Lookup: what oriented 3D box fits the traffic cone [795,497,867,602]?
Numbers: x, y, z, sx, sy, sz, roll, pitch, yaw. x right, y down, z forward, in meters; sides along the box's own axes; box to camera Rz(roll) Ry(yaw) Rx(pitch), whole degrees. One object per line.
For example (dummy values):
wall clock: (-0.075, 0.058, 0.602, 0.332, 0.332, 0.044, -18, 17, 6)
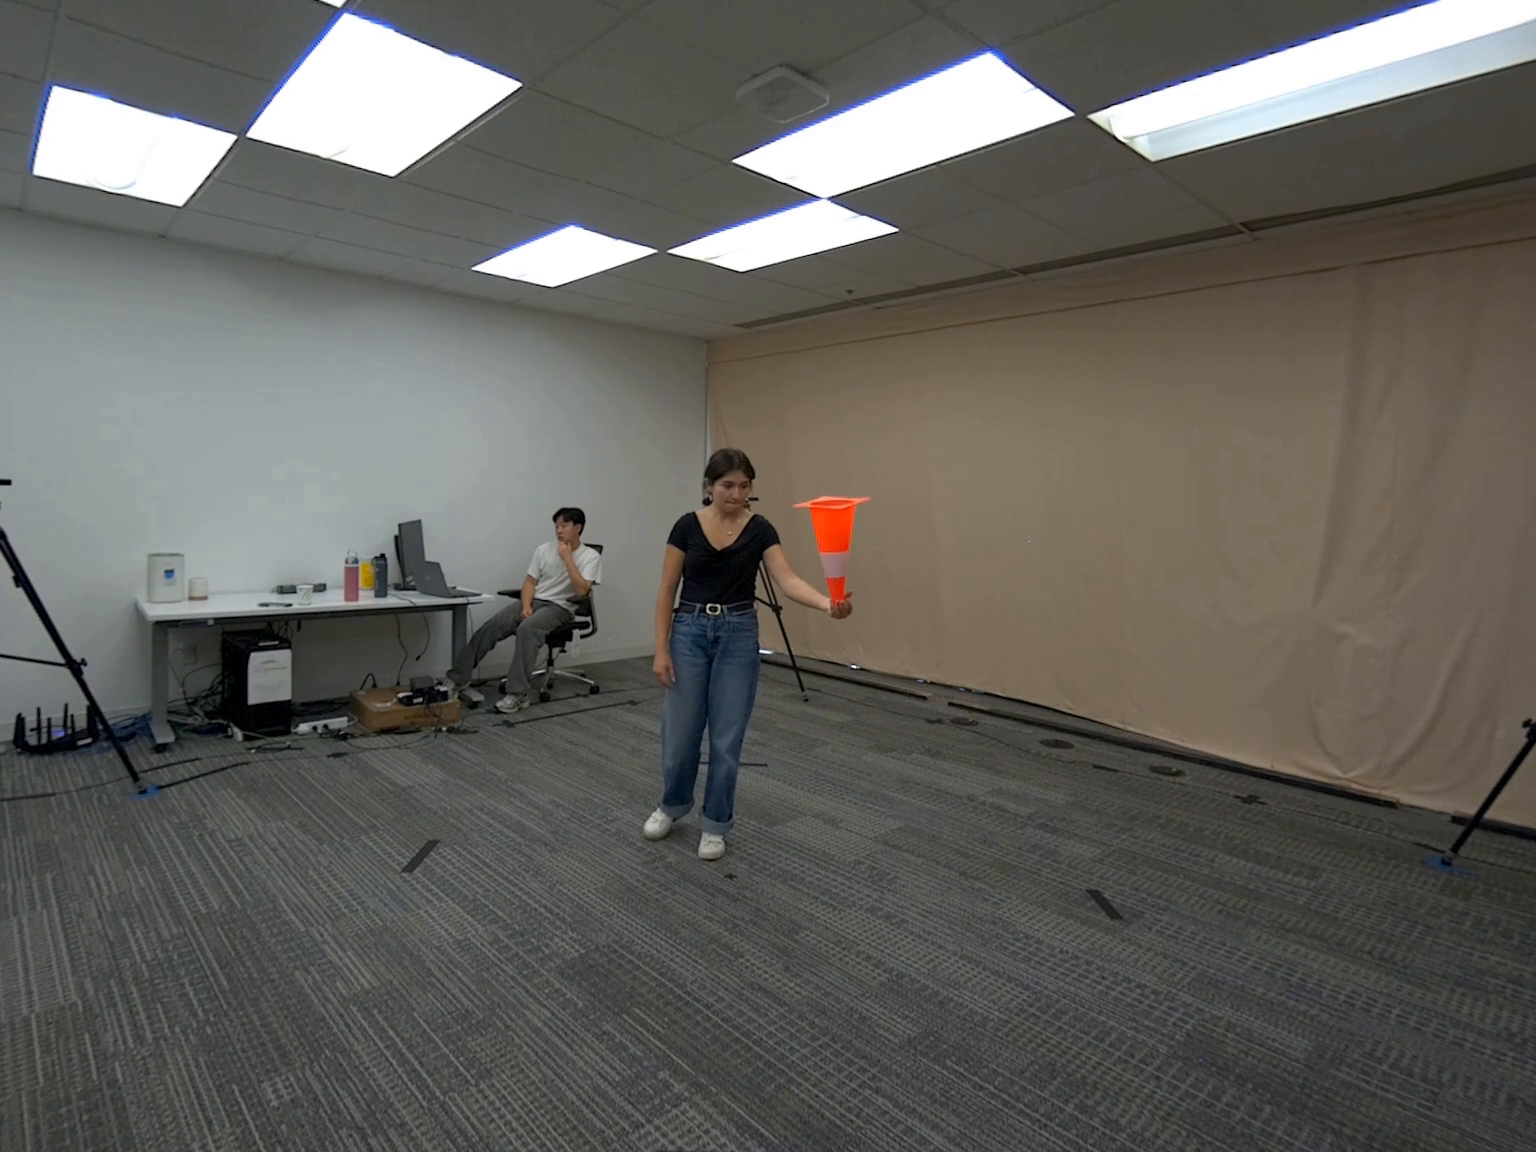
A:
traffic cone: (0.218, -0.059, 2.877, 0.201, 0.381, 0.208, -7, 10, -27)
